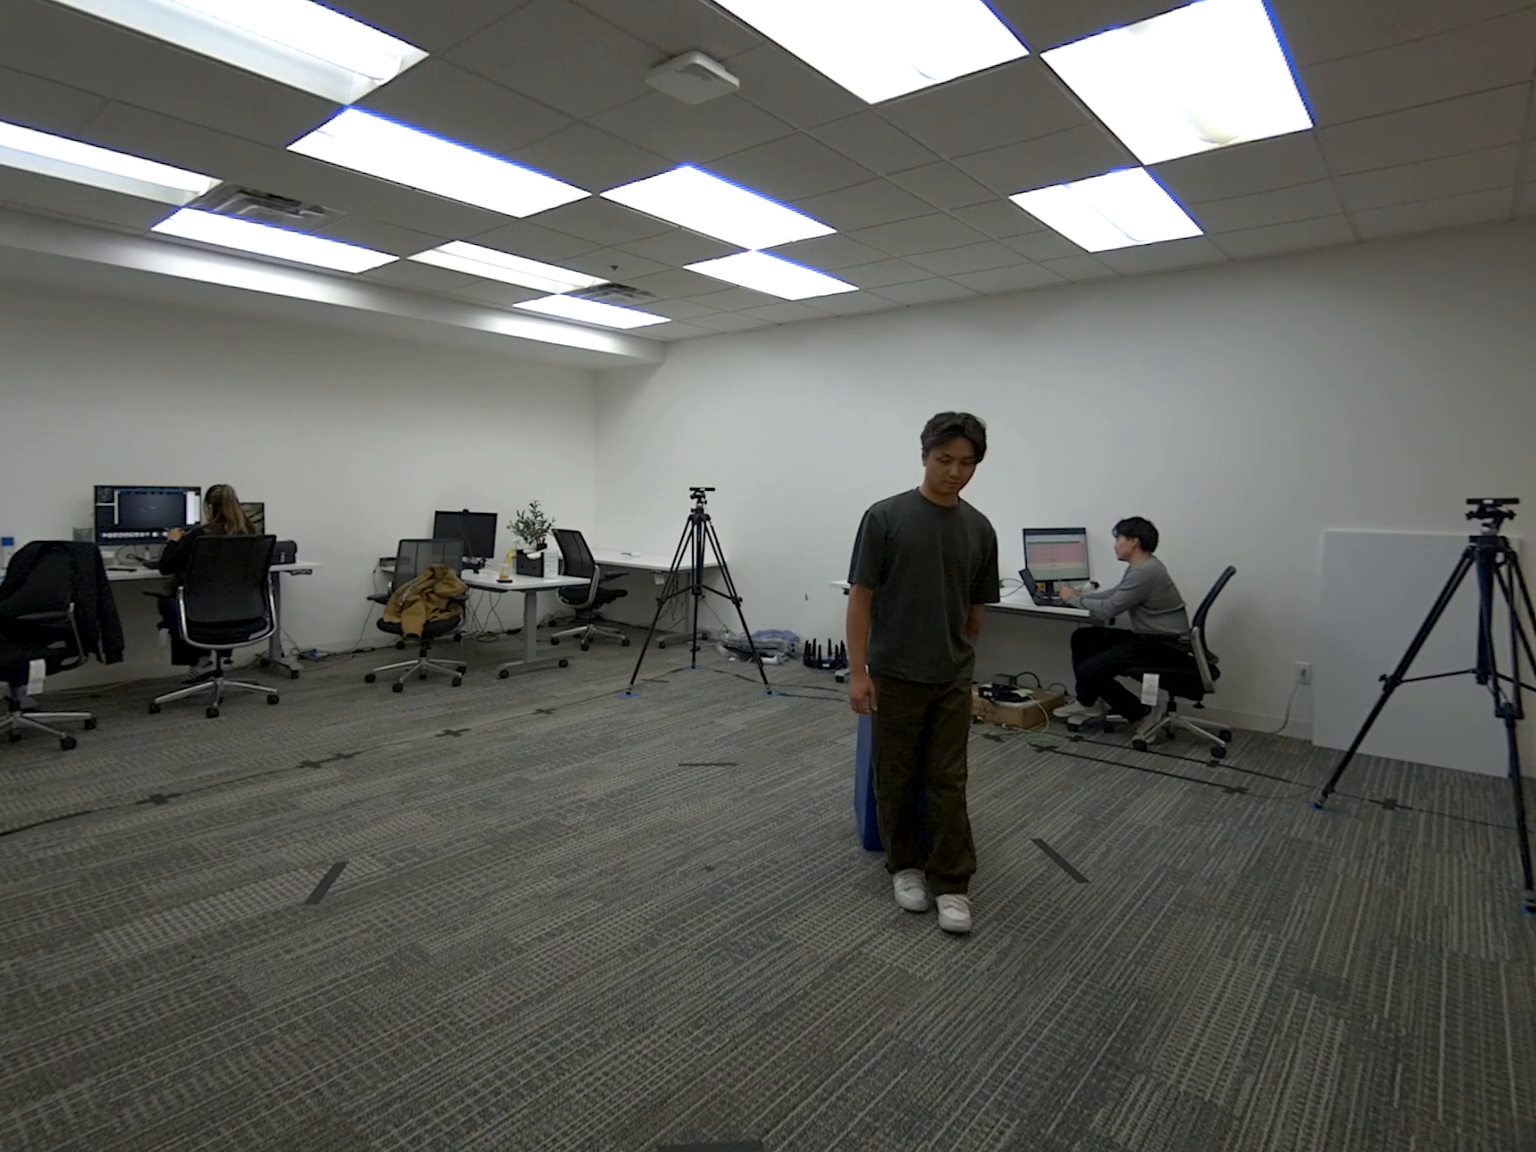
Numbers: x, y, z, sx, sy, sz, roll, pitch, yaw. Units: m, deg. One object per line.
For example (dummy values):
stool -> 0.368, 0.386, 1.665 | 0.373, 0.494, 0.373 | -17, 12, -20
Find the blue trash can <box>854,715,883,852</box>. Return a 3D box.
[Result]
blue trash can -> 0.523, 0.673, 3.326 | 0.374, 0.702, 0.384 | 2, 18, -1
